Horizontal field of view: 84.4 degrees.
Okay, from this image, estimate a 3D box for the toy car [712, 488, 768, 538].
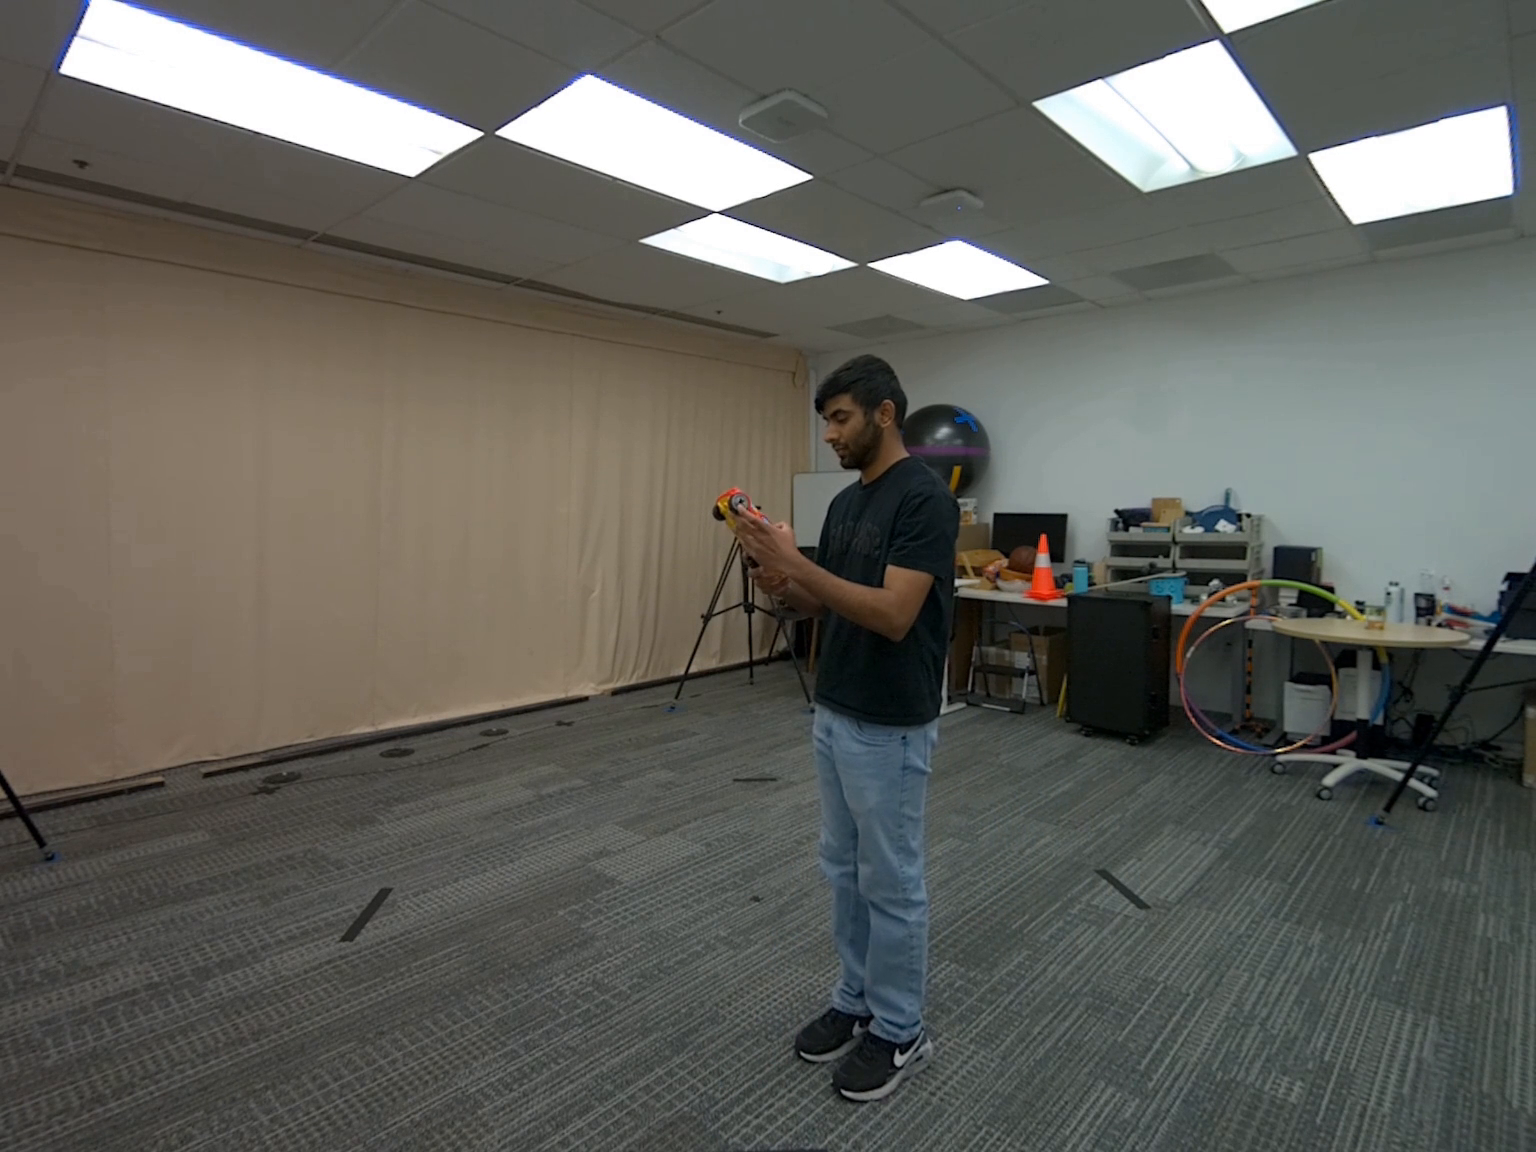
[{"bbox_3d":[-0.017,-0.086,1.946,0.083,0.251,0.133,-49,12,-25],"label":"toy car"}]
